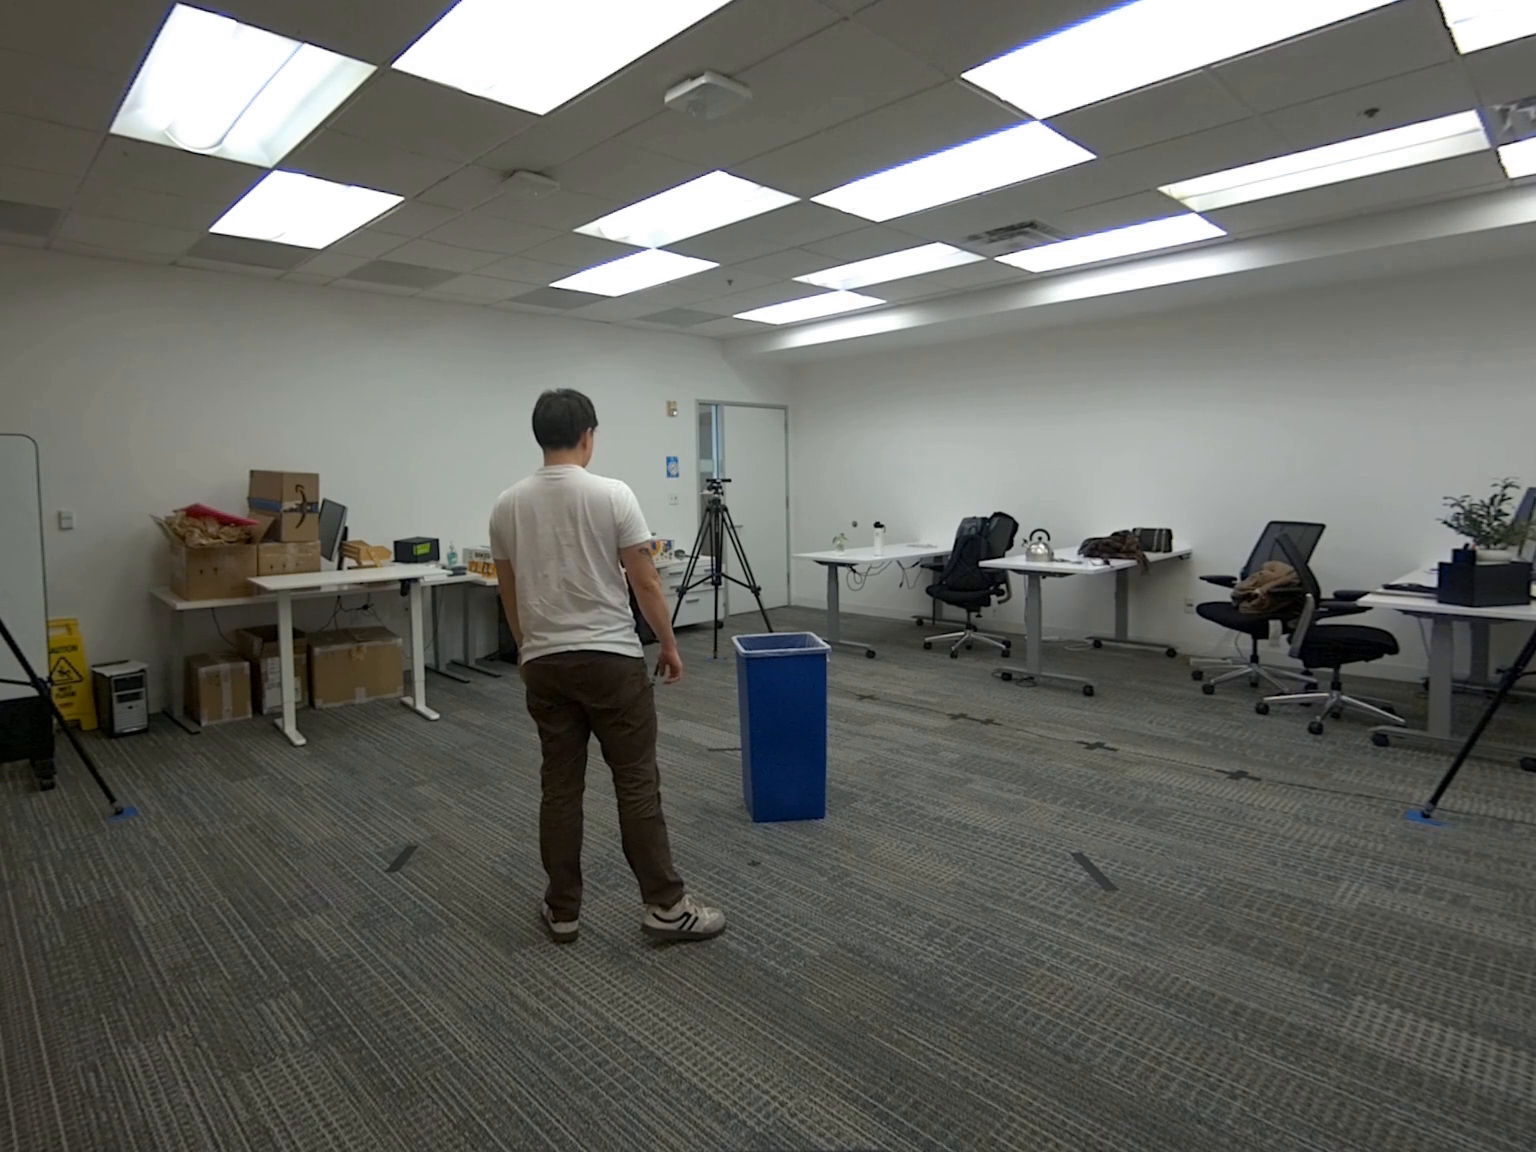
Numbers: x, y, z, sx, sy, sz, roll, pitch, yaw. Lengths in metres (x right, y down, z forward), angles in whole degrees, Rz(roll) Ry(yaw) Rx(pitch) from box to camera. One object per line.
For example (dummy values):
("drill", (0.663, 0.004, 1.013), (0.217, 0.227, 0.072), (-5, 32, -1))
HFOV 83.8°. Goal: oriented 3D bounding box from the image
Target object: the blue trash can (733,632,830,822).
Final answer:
("blue trash can", (0.056, 0.628, 3.621), (0.375, 0.711, 0.378), (-2, 4, -8))
